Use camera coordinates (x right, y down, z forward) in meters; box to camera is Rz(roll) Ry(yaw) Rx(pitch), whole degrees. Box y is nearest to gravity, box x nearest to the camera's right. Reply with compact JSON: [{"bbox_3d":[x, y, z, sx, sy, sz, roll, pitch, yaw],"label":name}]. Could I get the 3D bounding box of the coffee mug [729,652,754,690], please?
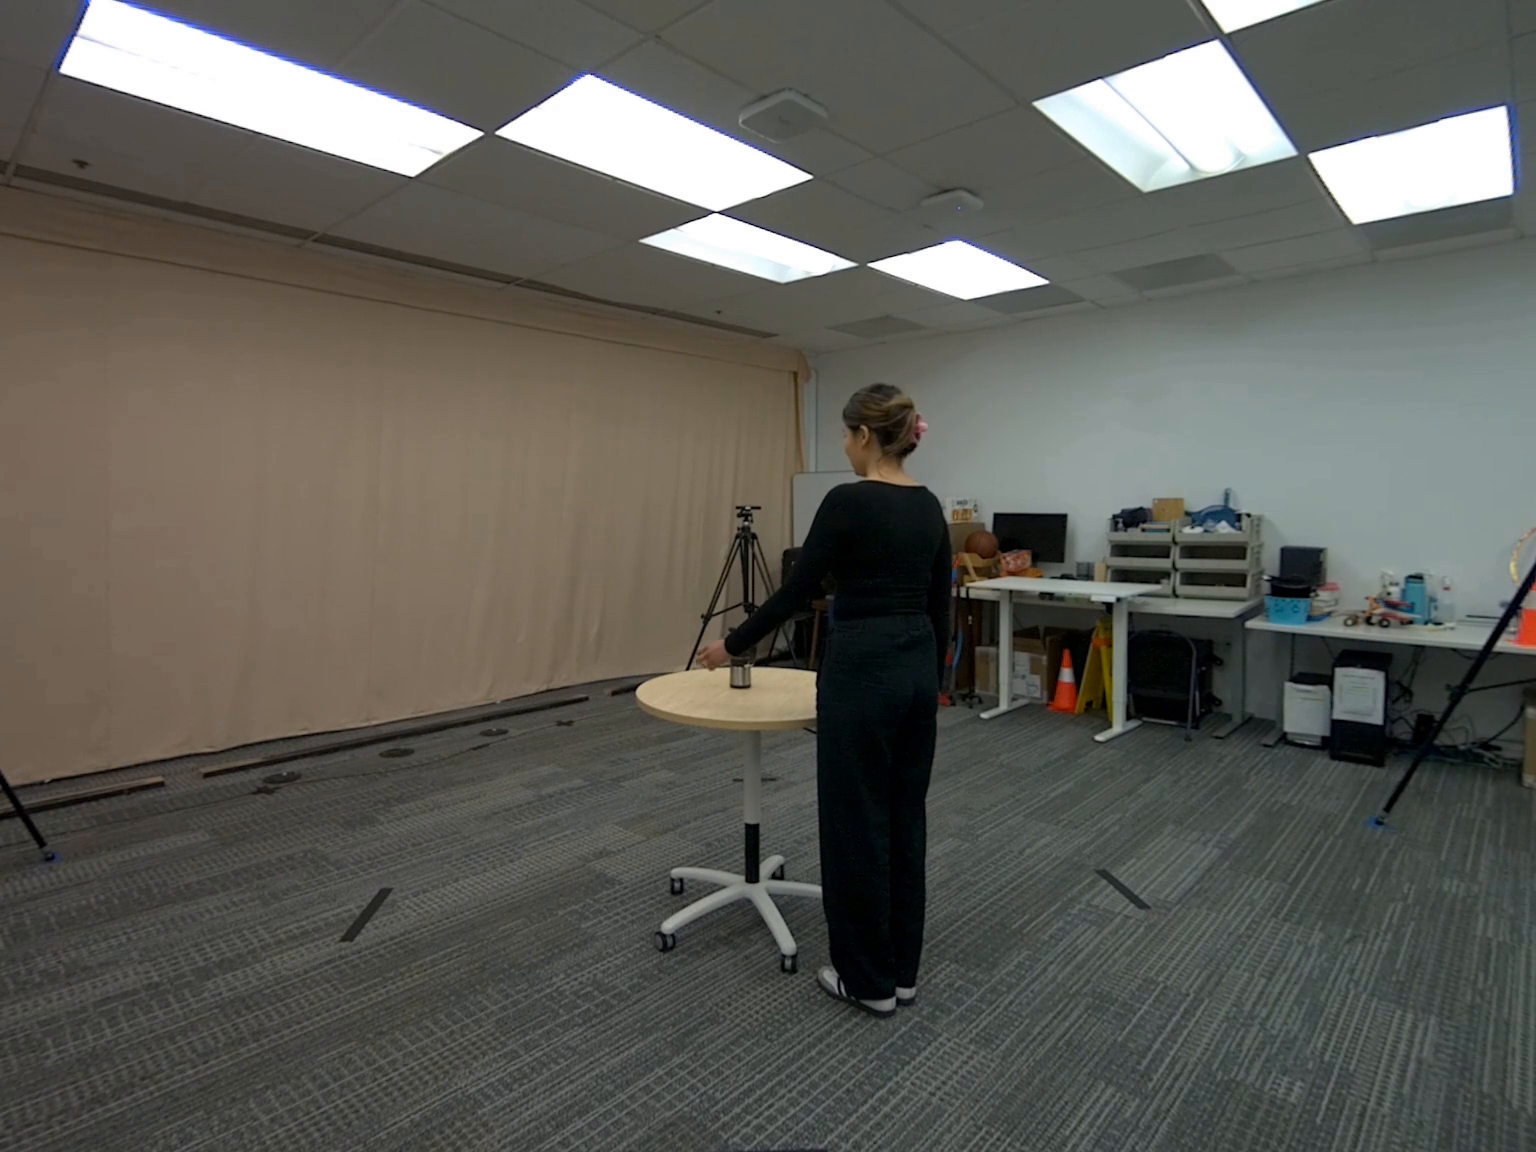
[{"bbox_3d":[-0.093,0.280,2.803,0.089,0.202,0.120,6,5,14],"label":"coffee mug"}]
